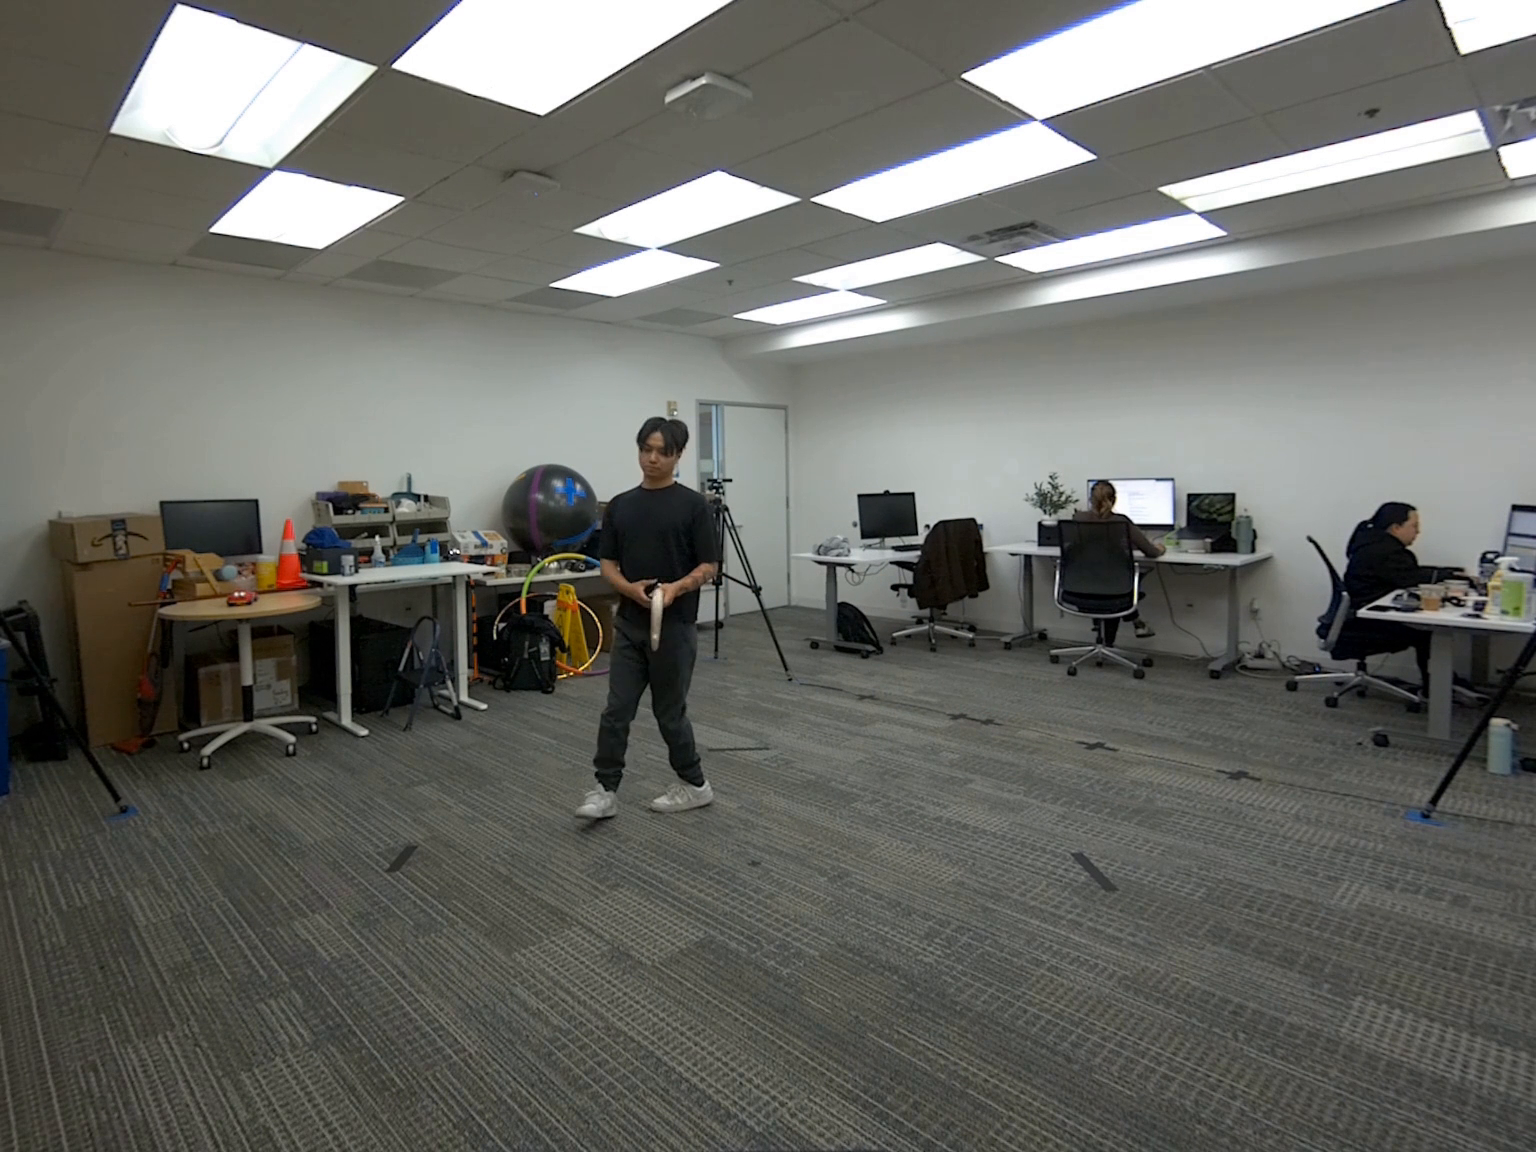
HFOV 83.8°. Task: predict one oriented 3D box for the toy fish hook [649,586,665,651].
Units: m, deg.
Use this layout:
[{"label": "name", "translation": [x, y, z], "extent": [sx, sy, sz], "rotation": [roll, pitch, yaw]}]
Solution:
[{"label": "toy fish hook", "translation": [-0.408, 0.155, 3.172], "extent": [0.048, 0.224, 0.508], "rotation": [10, 6, -2]}]
